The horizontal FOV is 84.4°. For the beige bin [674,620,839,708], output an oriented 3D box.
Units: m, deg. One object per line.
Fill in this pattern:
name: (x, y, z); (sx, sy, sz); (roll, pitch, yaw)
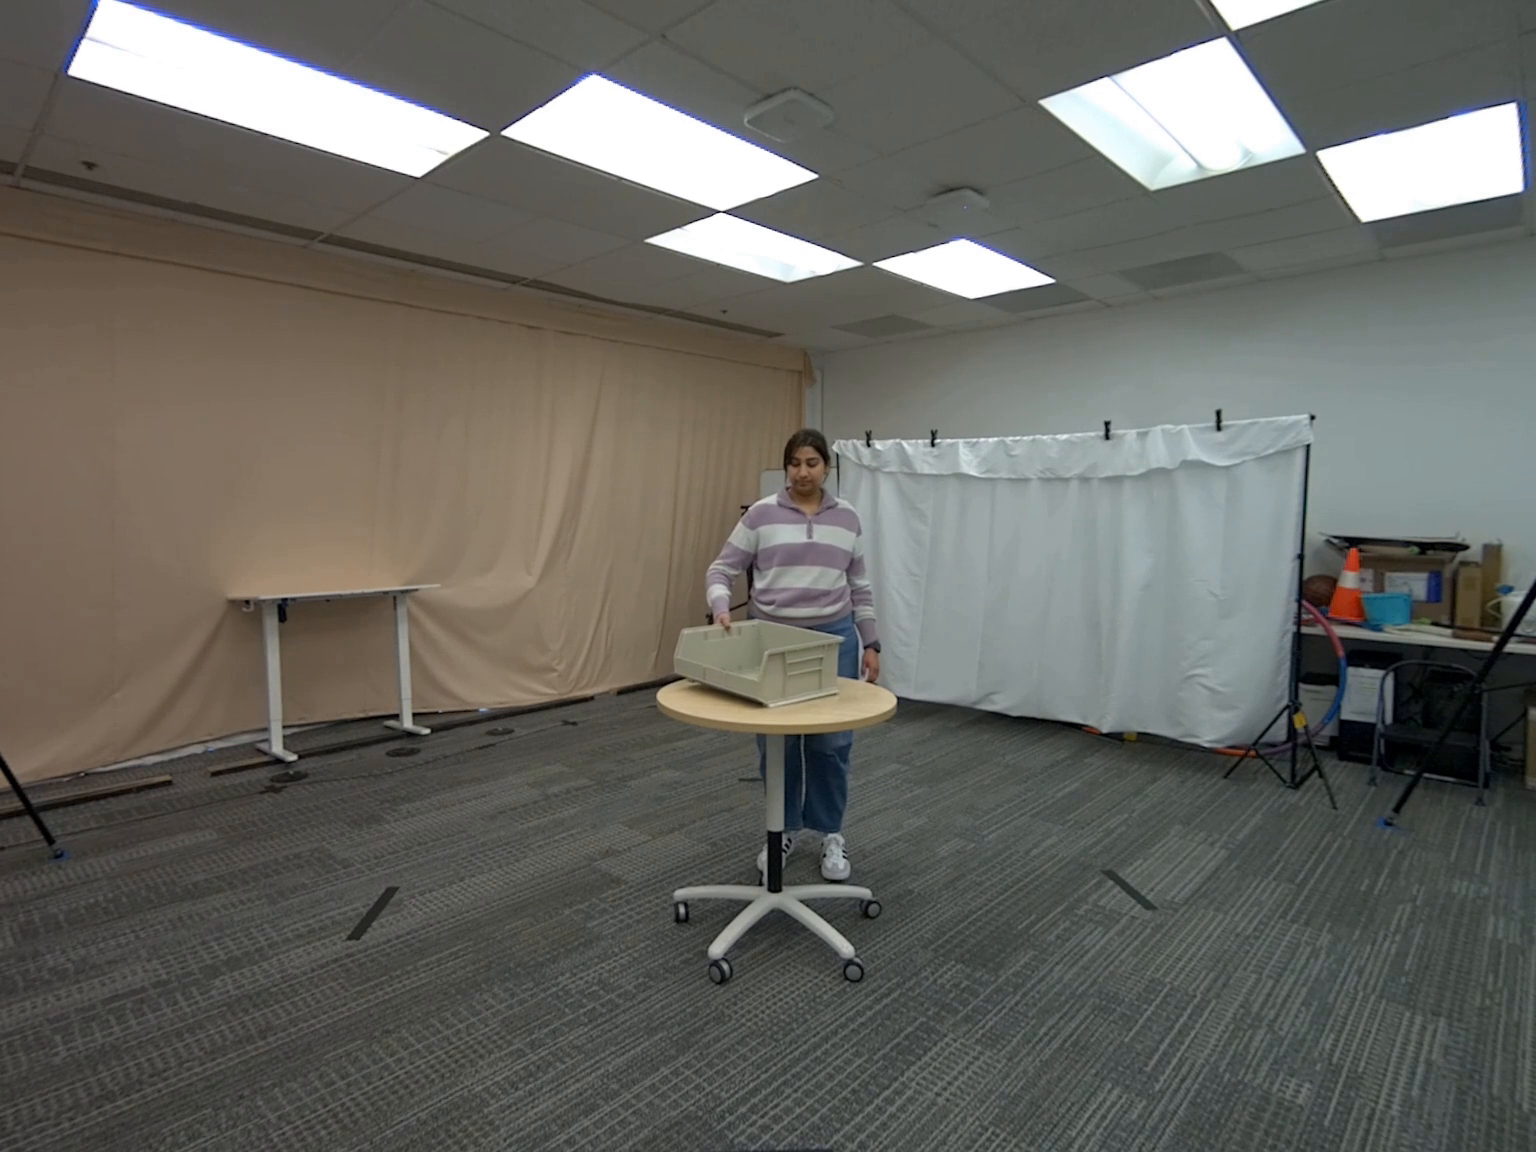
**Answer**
beige bin: (-0.032, 0.277, 2.755); (0.366, 0.188, 0.436); (-3, 6, -40)
